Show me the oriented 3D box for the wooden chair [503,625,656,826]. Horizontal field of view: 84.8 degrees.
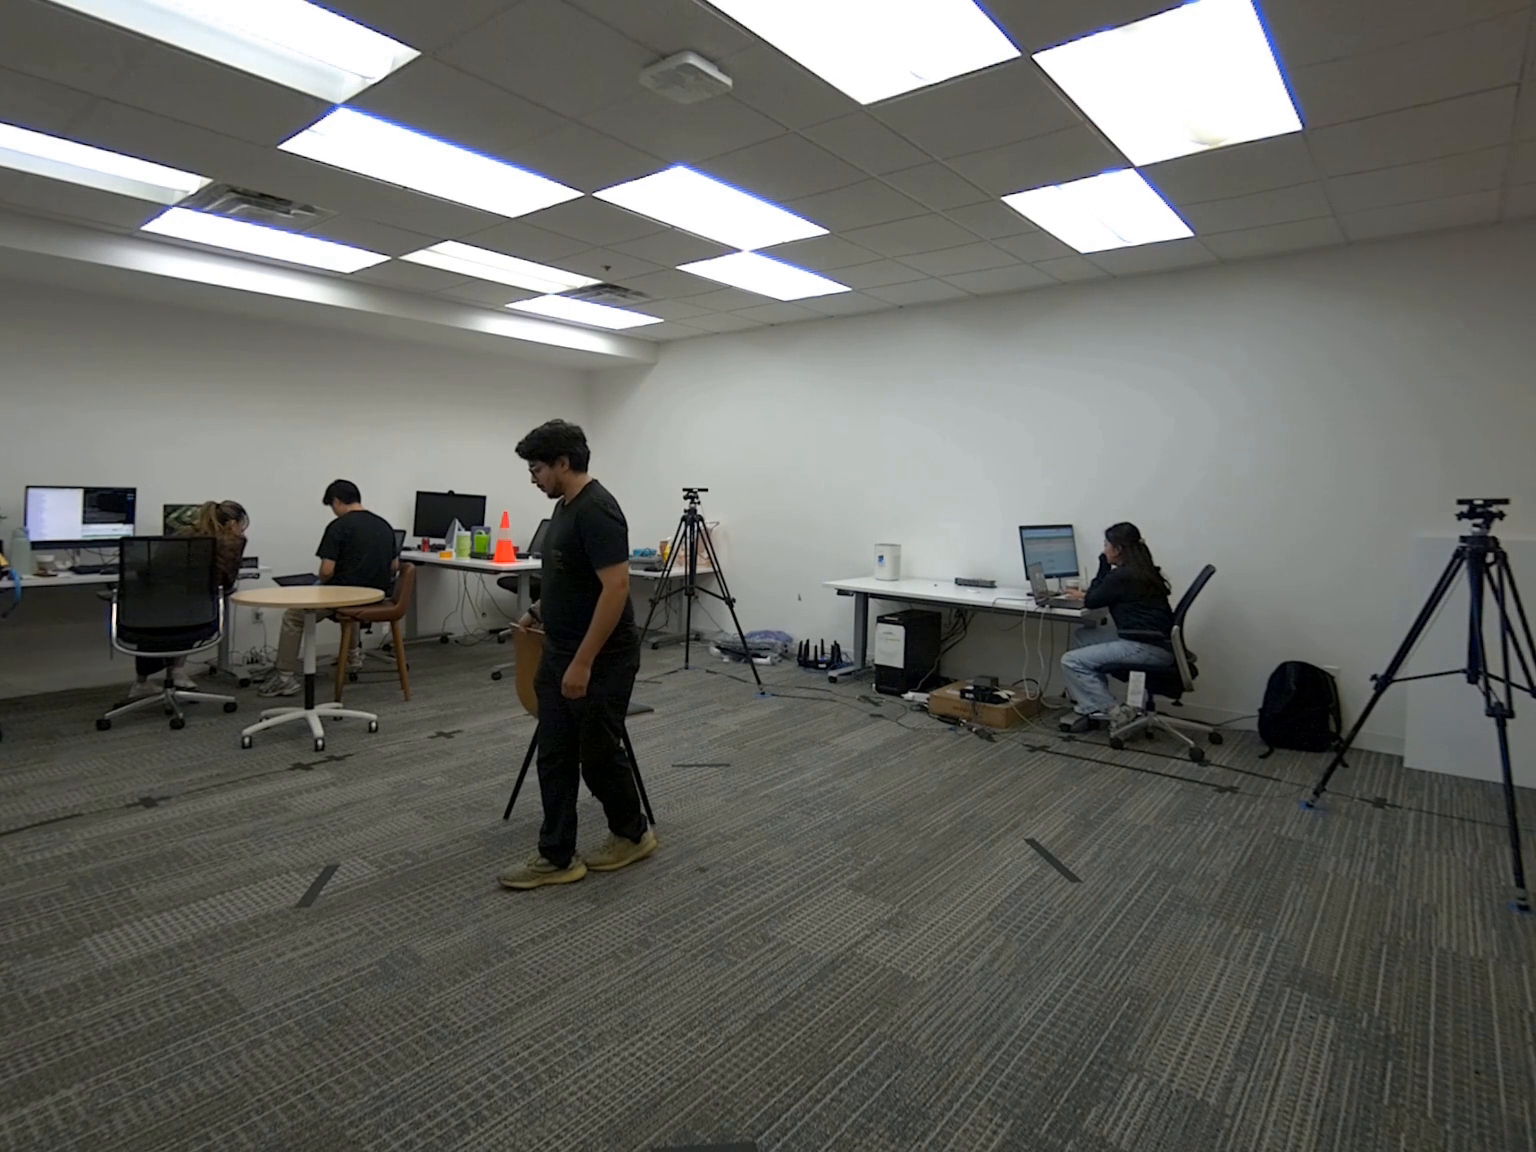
[{"bbox_3d":[-0.786,0.593,3.514,0.509,0.872,0.494,-8,8,-44],"label":"wooden chair"}]
